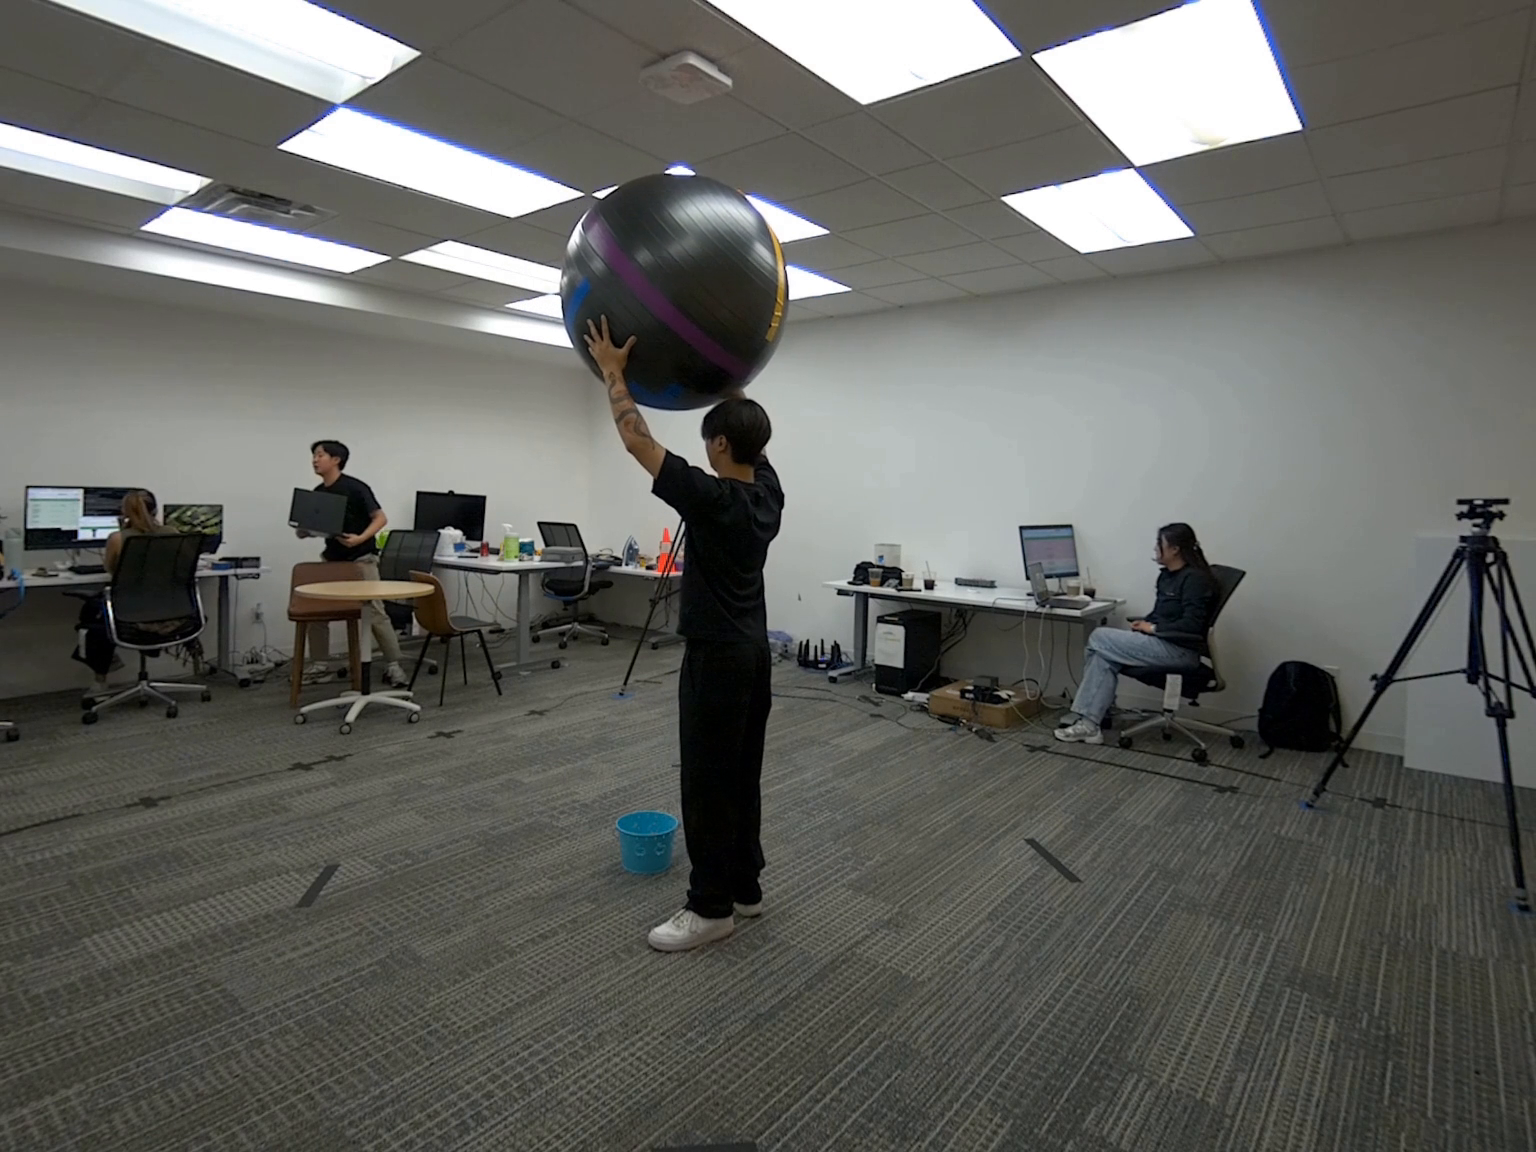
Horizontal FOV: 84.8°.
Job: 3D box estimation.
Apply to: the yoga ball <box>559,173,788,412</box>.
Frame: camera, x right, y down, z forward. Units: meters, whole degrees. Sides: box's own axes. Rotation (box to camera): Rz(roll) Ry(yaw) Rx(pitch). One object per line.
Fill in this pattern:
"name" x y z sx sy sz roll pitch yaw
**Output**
"yoga ball" -0.319 -0.929 2.828 0.757 0.755 0.762 1 4 -2
